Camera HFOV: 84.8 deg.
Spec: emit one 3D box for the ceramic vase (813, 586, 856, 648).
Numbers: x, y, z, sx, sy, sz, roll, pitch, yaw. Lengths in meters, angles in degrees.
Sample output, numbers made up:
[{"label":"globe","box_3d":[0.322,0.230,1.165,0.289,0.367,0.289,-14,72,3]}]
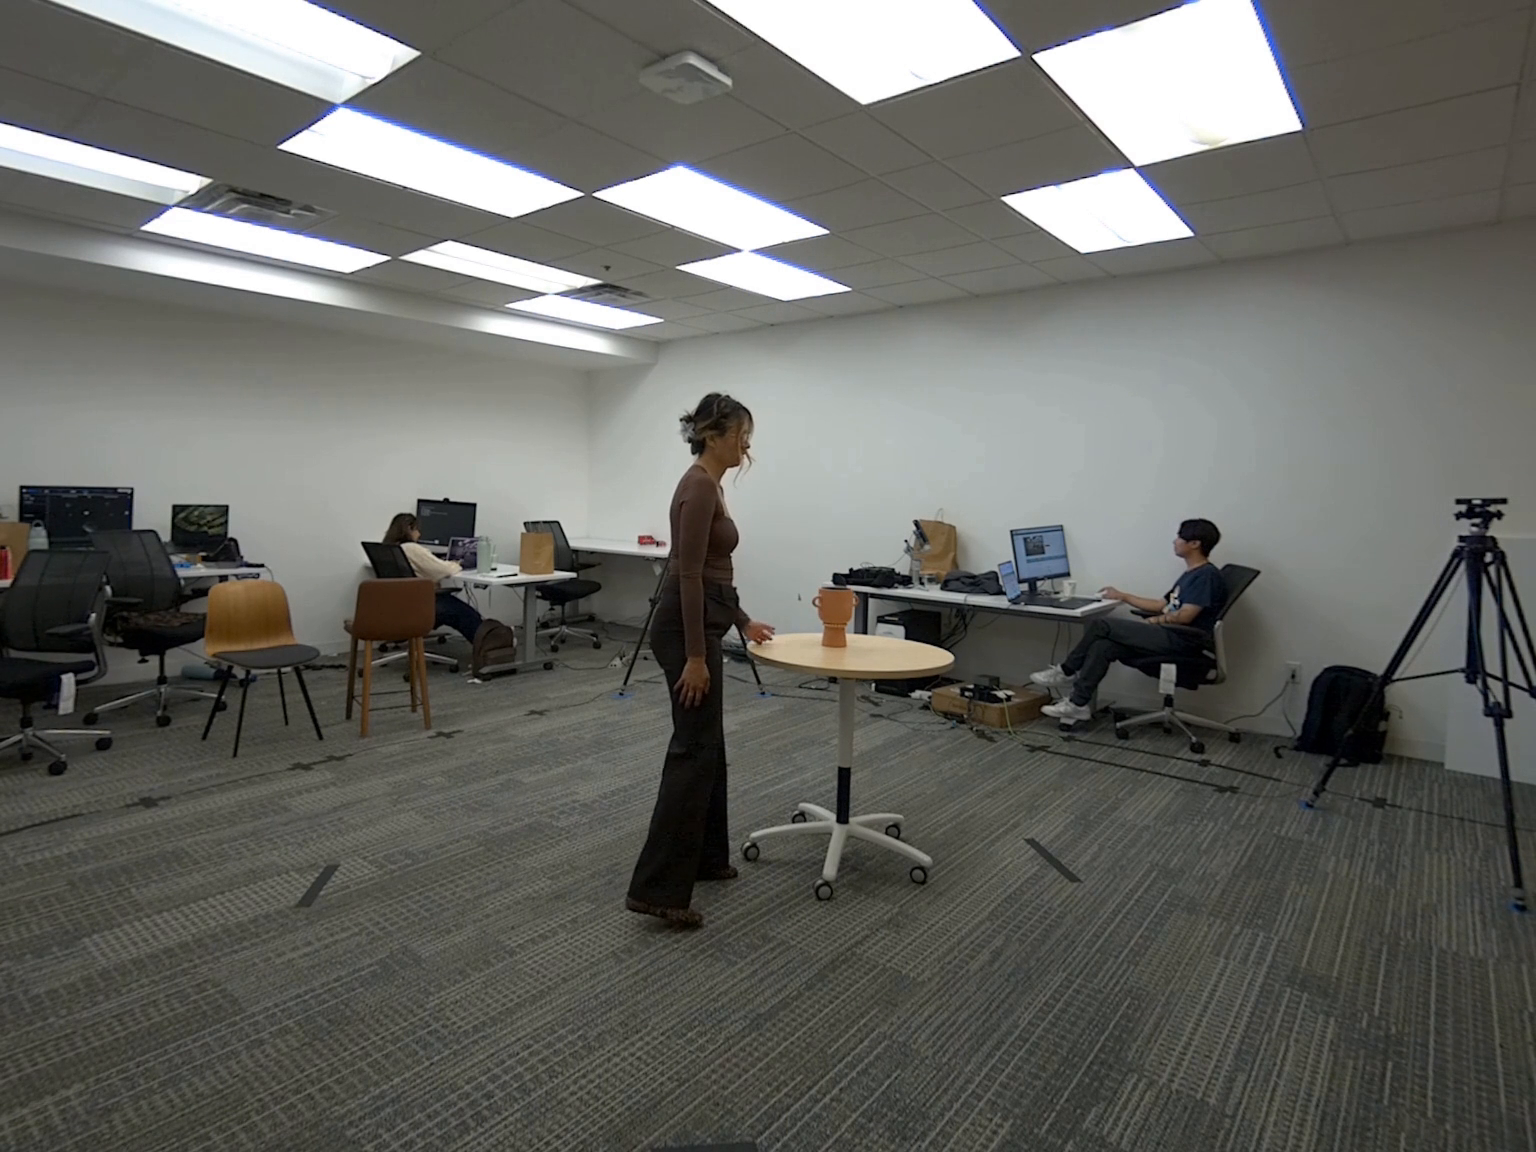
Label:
[{"label":"ceramic vase","box_3d":[0.247,0.157,3.277,0.162,0.219,0.132,3,3,17]}]
